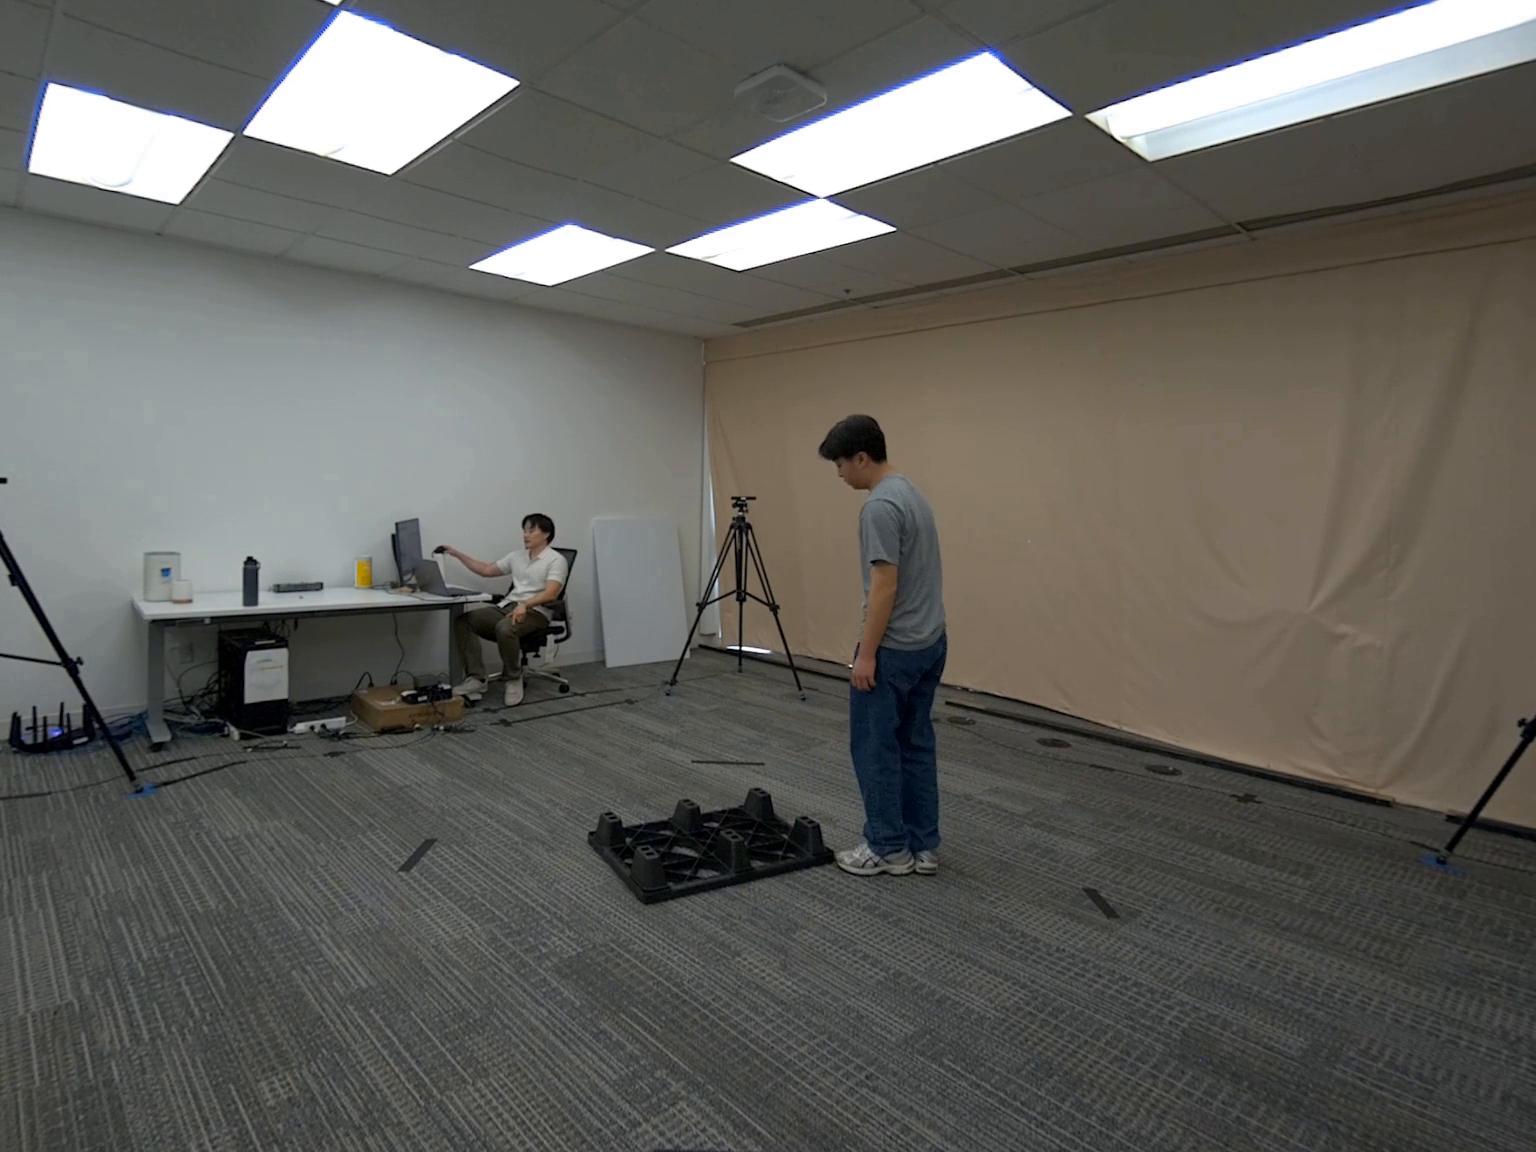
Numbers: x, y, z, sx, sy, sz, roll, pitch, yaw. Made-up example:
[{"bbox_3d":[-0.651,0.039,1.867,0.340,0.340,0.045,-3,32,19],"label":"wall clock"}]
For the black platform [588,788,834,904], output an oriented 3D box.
[{"bbox_3d":[-0.240,1.020,3.301,0.789,0.143,0.619,-2,6,-31],"label":"black platform"}]
